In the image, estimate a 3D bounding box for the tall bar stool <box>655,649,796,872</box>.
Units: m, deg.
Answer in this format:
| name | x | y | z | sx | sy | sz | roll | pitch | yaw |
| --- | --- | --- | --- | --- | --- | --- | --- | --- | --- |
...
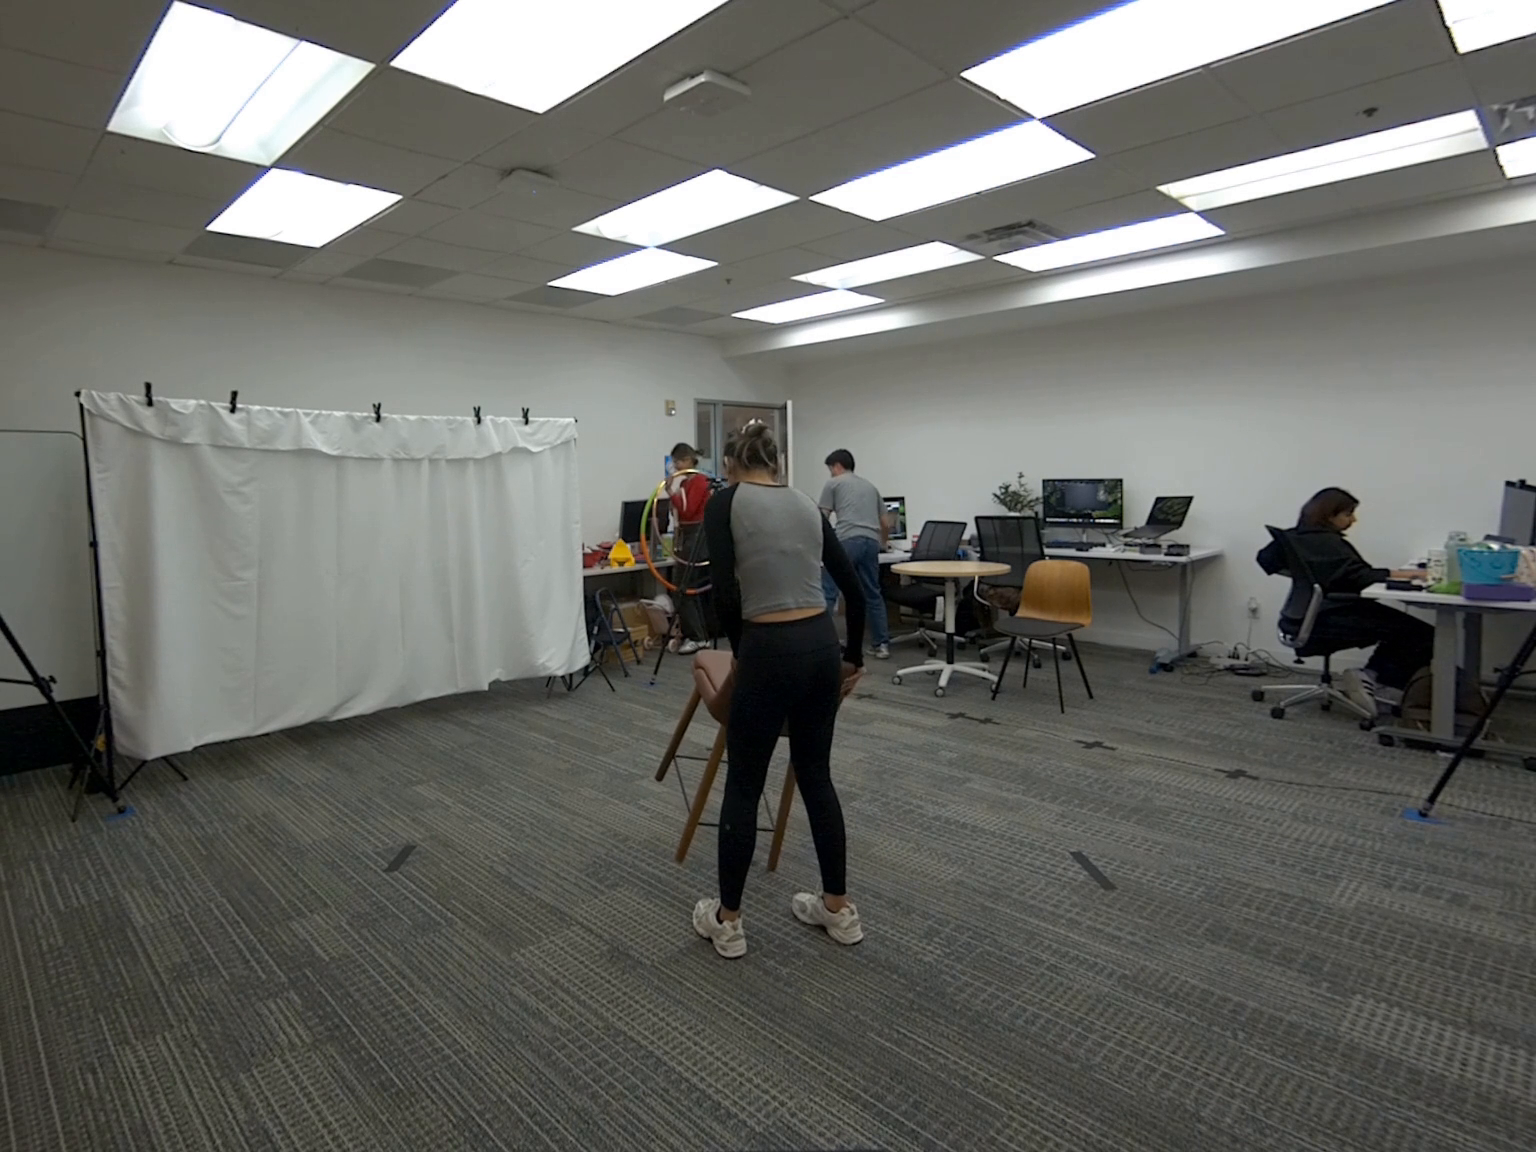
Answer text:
| name | x | y | z | sx | sy | sz | roll | pitch | yaw |
| --- | --- | --- | --- | --- | --- | --- | --- | --- | --- |
| tall bar stool | -0.063 | 0.541 | 3.035 | 0.448 | 0.880 | 0.482 | 12 | 23 | -19 |
